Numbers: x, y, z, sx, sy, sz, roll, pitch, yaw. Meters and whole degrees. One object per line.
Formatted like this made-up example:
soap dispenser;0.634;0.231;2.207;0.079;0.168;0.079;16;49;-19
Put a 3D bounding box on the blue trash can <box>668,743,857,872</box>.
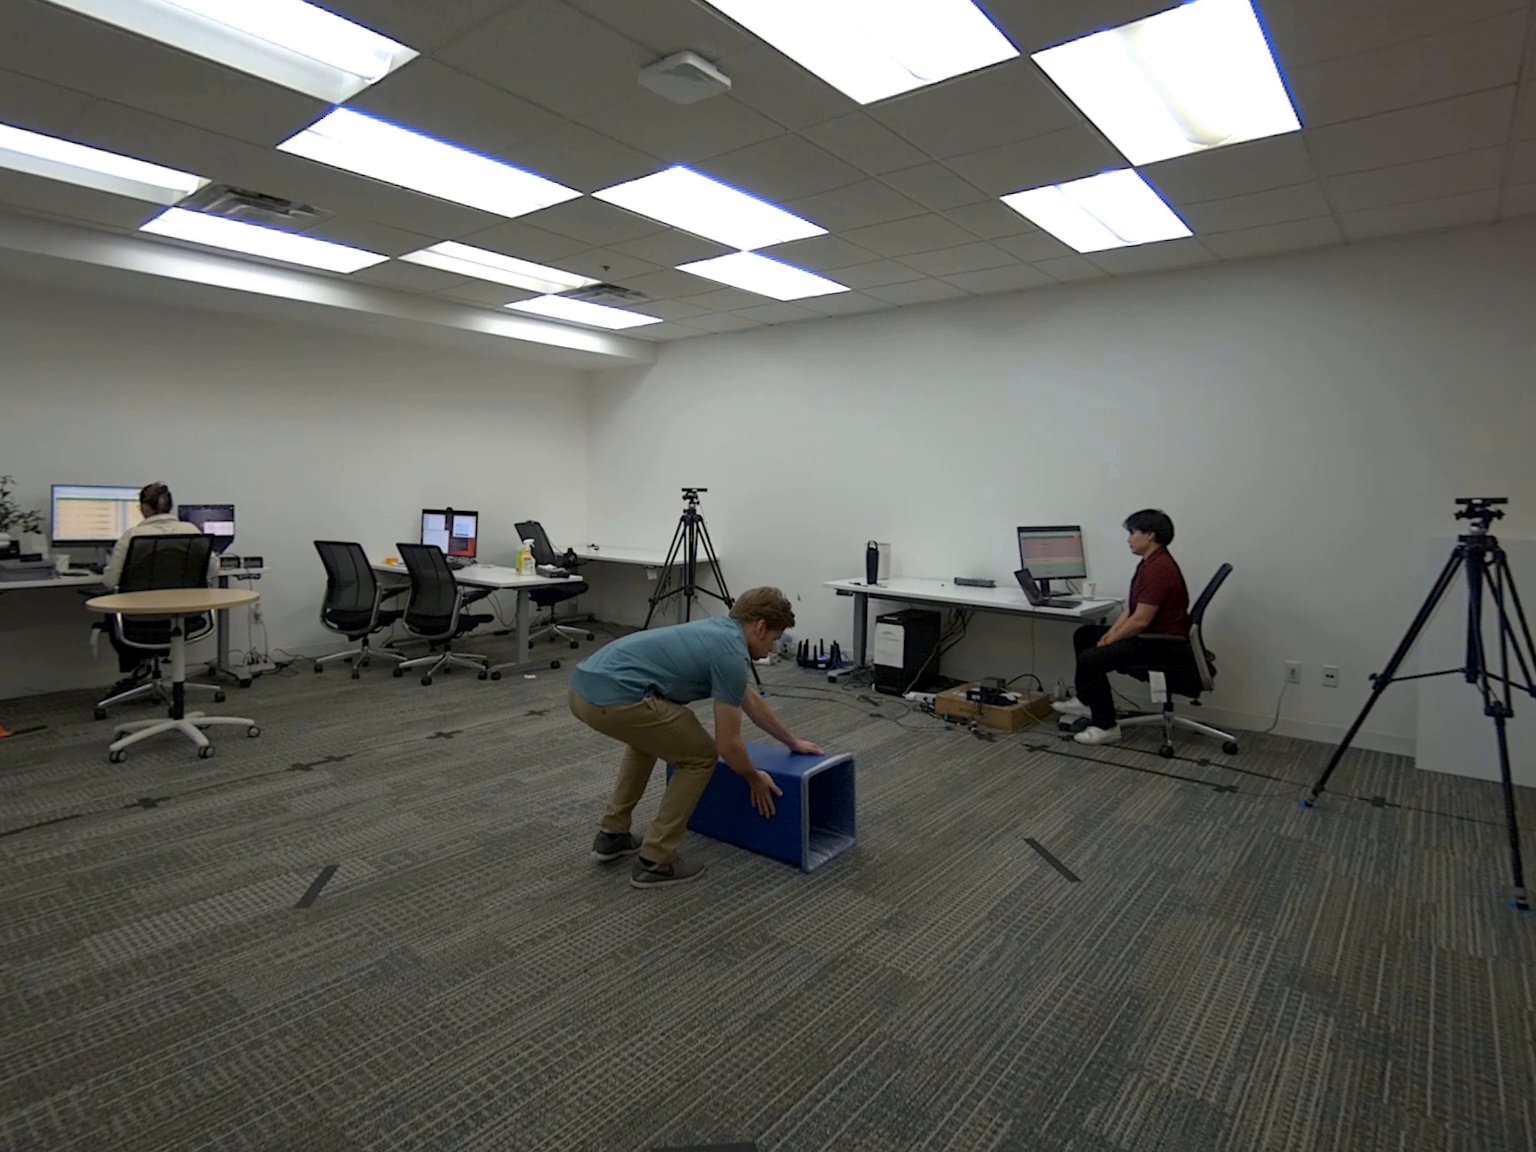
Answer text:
blue trash can;-0.057;0.882;3.432;0.735;0.377;0.363;0;3;37
